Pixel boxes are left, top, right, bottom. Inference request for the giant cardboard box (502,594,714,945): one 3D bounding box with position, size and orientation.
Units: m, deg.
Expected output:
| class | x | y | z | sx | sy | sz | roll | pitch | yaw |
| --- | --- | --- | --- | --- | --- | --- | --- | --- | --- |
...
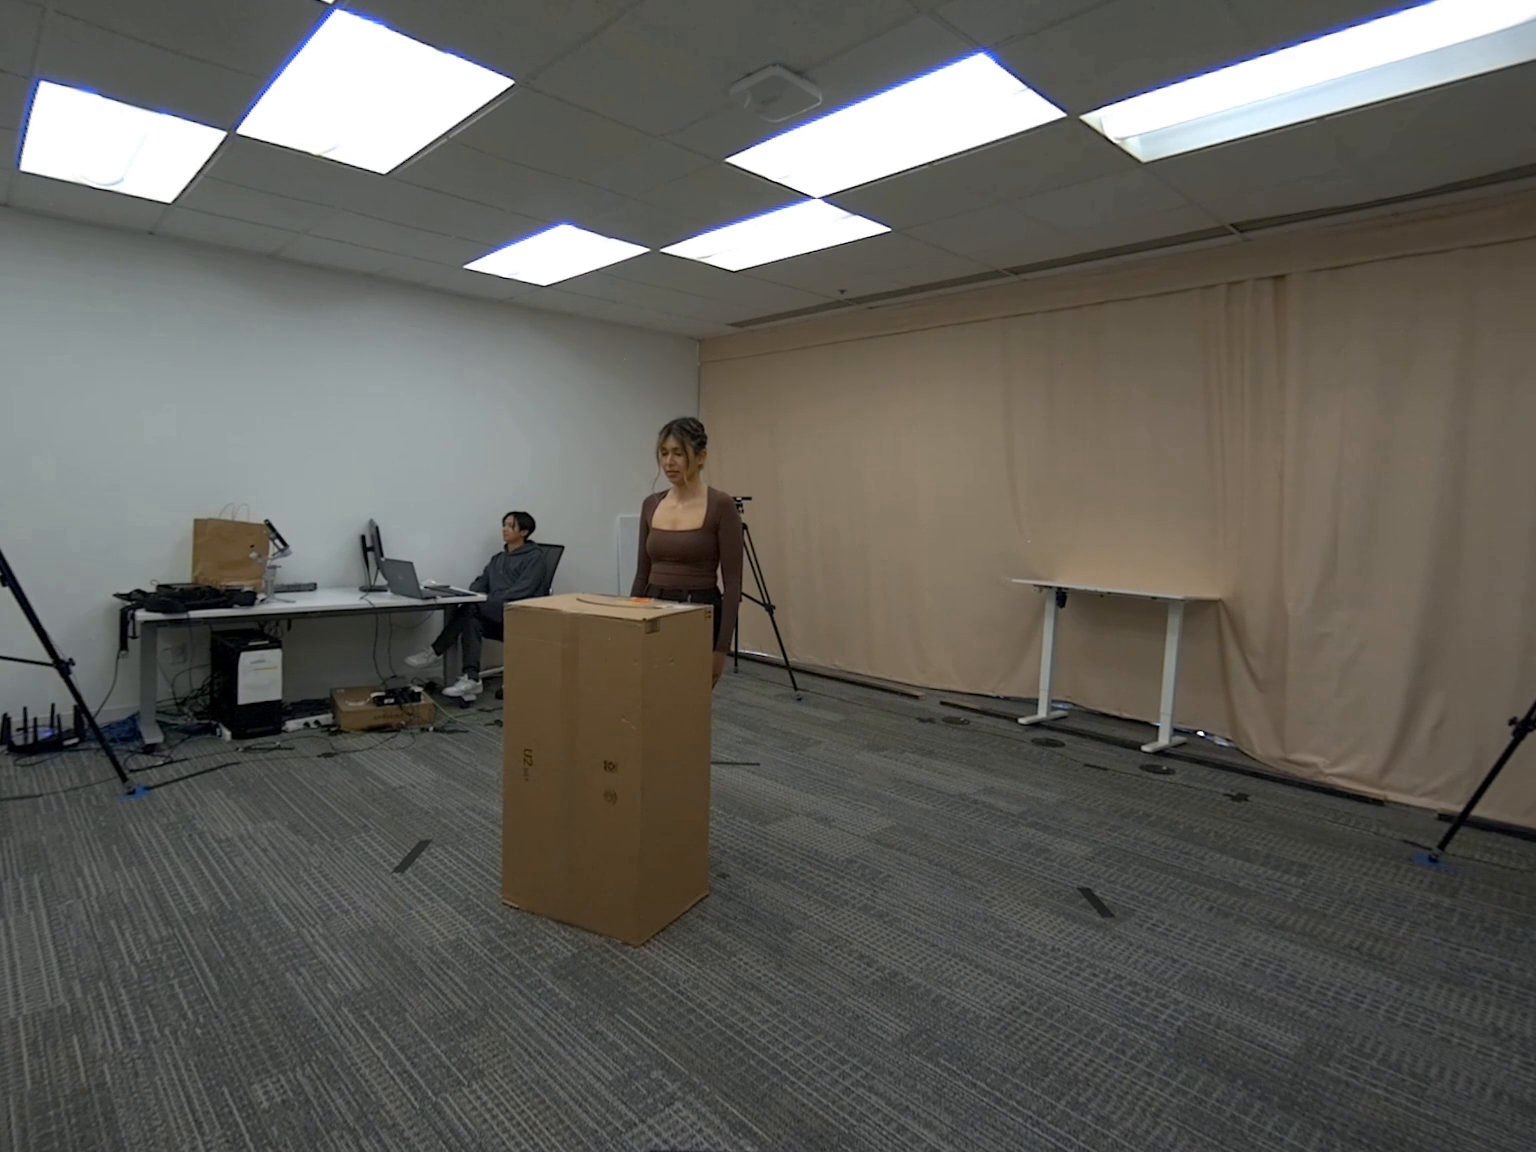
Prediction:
| class | x | y | z | sx | sy | sz | roll | pitch | yaw |
| --- | --- | --- | --- | --- | --- | --- | --- | --- | --- |
| giant cardboard box | -0.549 | 0.605 | 2.885 | 0.596 | 1.025 | 0.438 | 3 | 3 | 29 |
